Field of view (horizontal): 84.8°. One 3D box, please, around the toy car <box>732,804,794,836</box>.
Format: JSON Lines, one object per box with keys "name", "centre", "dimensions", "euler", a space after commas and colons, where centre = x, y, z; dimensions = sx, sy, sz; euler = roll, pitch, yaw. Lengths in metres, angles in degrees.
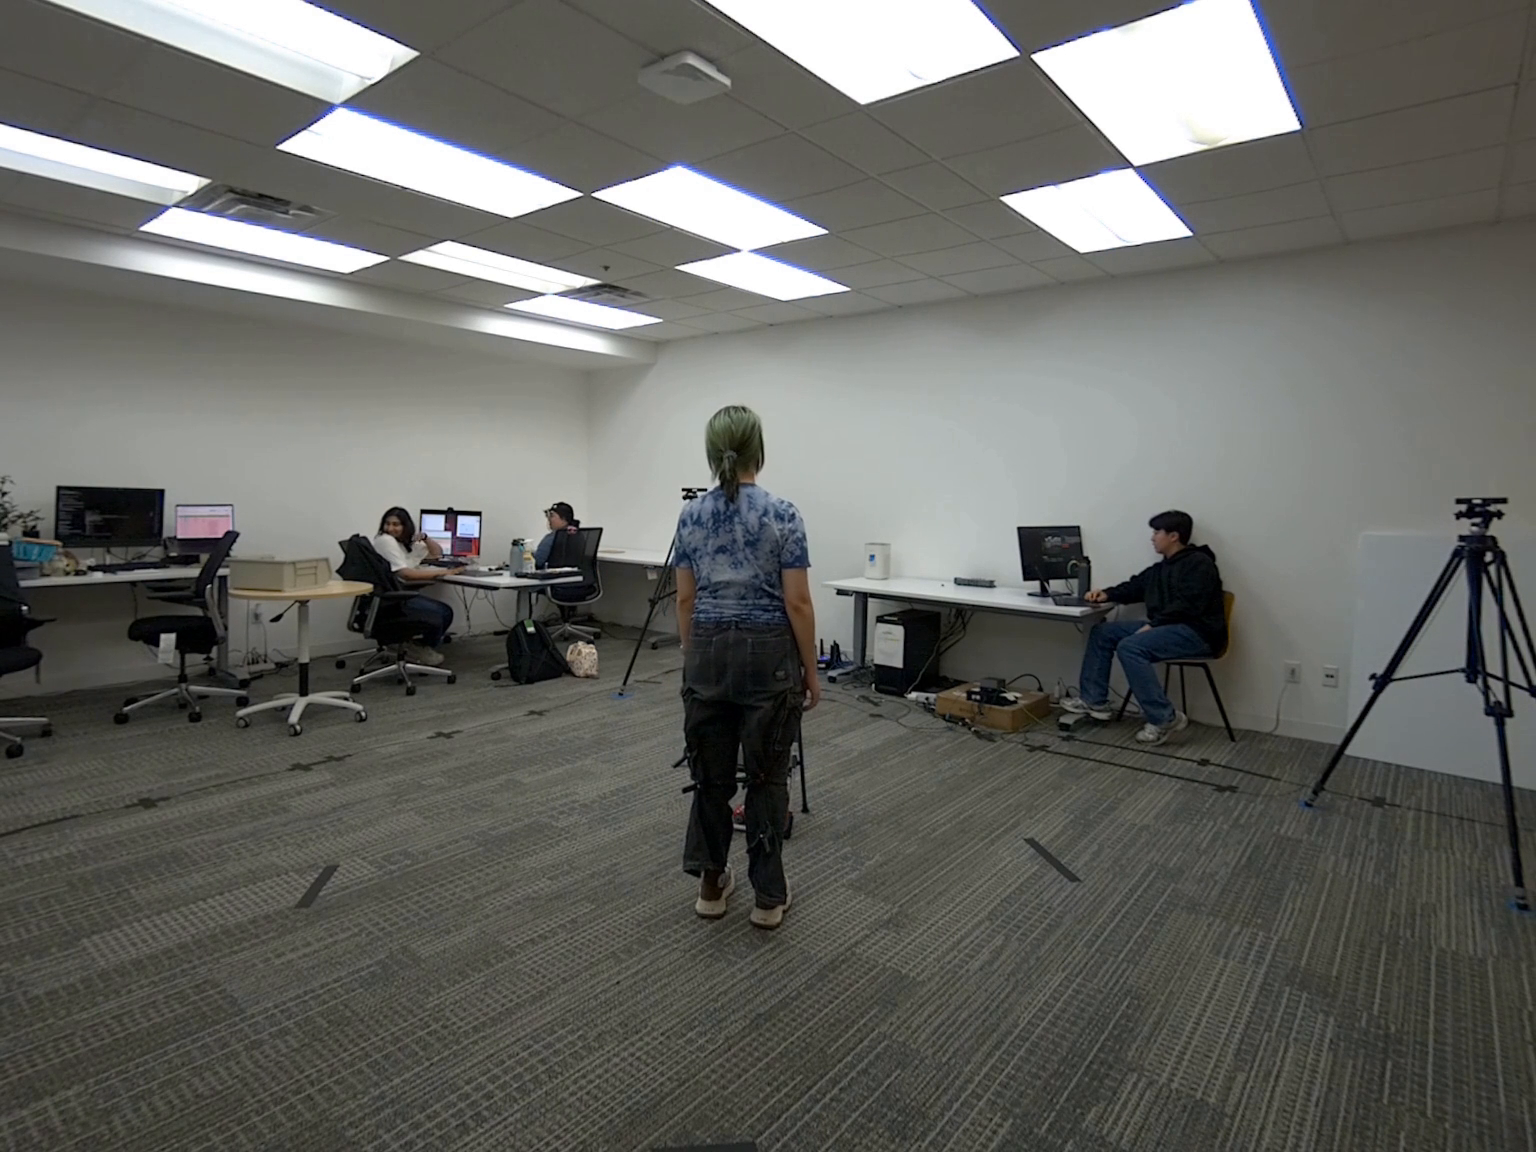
{"name": "toy car", "centre": [-0.030, 0.994, 3.557], "dimensions": [0.258, 0.083, 0.128], "euler": [-9, 1, 17]}
